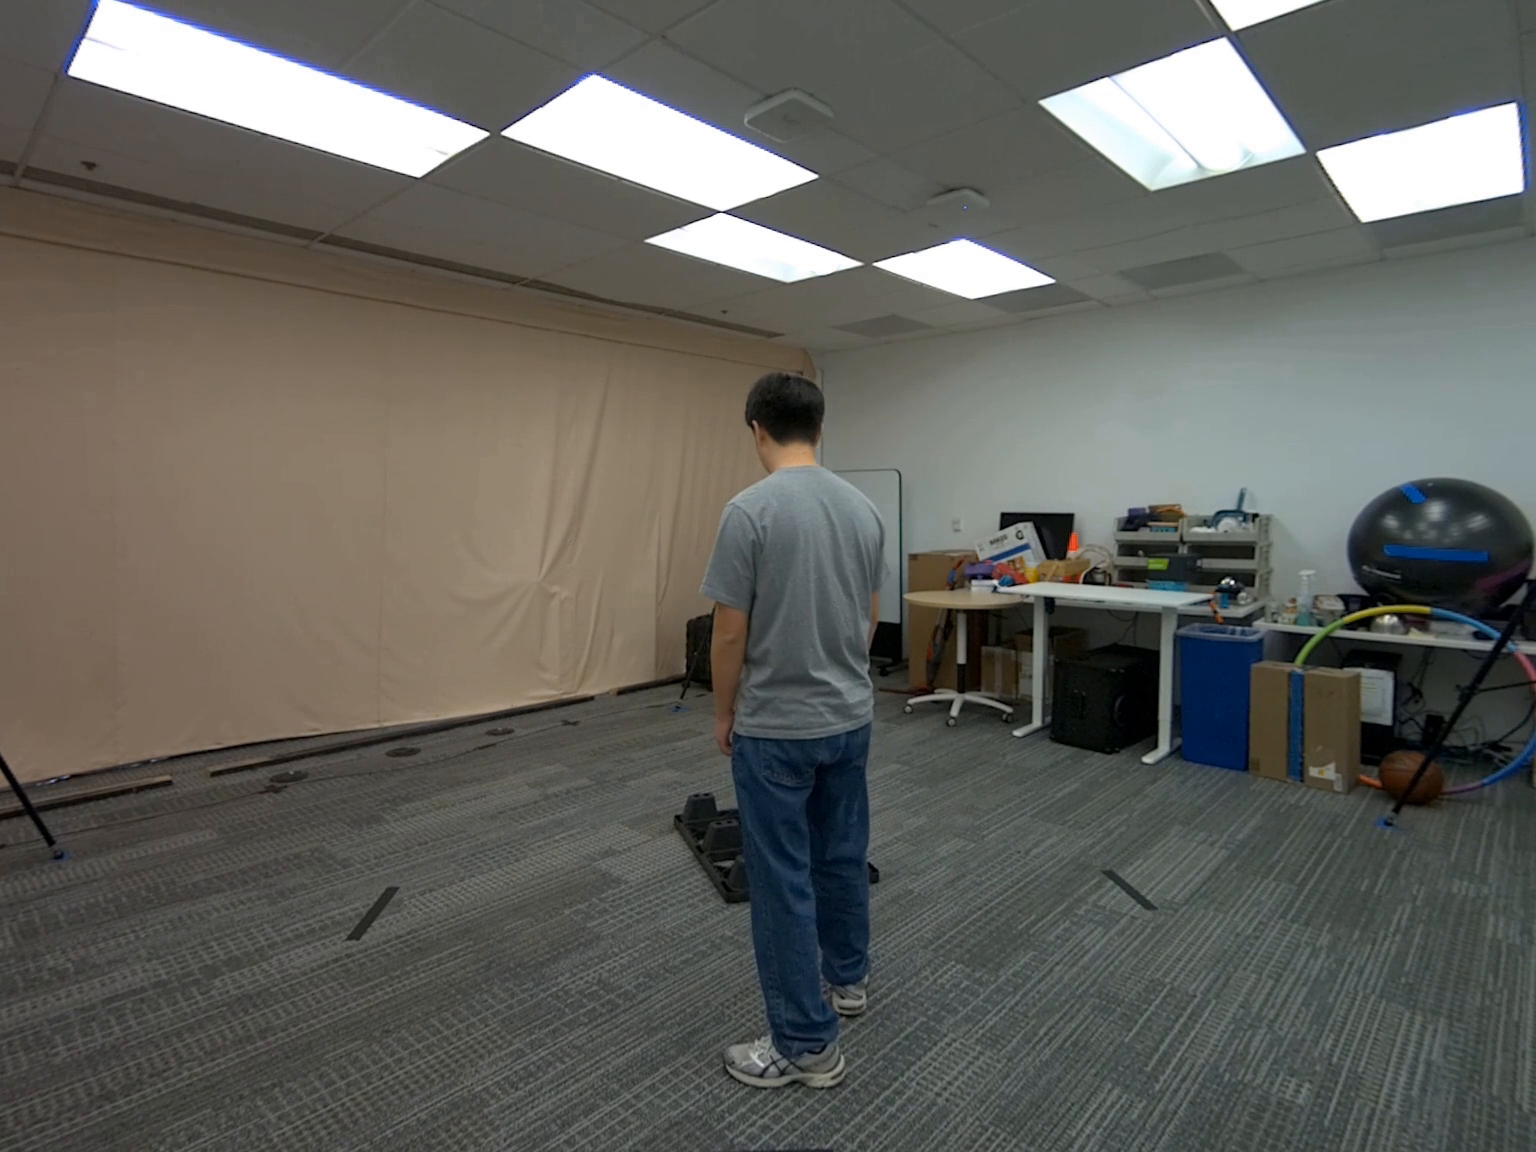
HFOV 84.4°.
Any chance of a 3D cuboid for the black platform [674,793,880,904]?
[{"bbox_3d":[-0.003,1.039,3.396,0.594,0.143,0.823,-2,4,-20],"label":"black platform"}]
